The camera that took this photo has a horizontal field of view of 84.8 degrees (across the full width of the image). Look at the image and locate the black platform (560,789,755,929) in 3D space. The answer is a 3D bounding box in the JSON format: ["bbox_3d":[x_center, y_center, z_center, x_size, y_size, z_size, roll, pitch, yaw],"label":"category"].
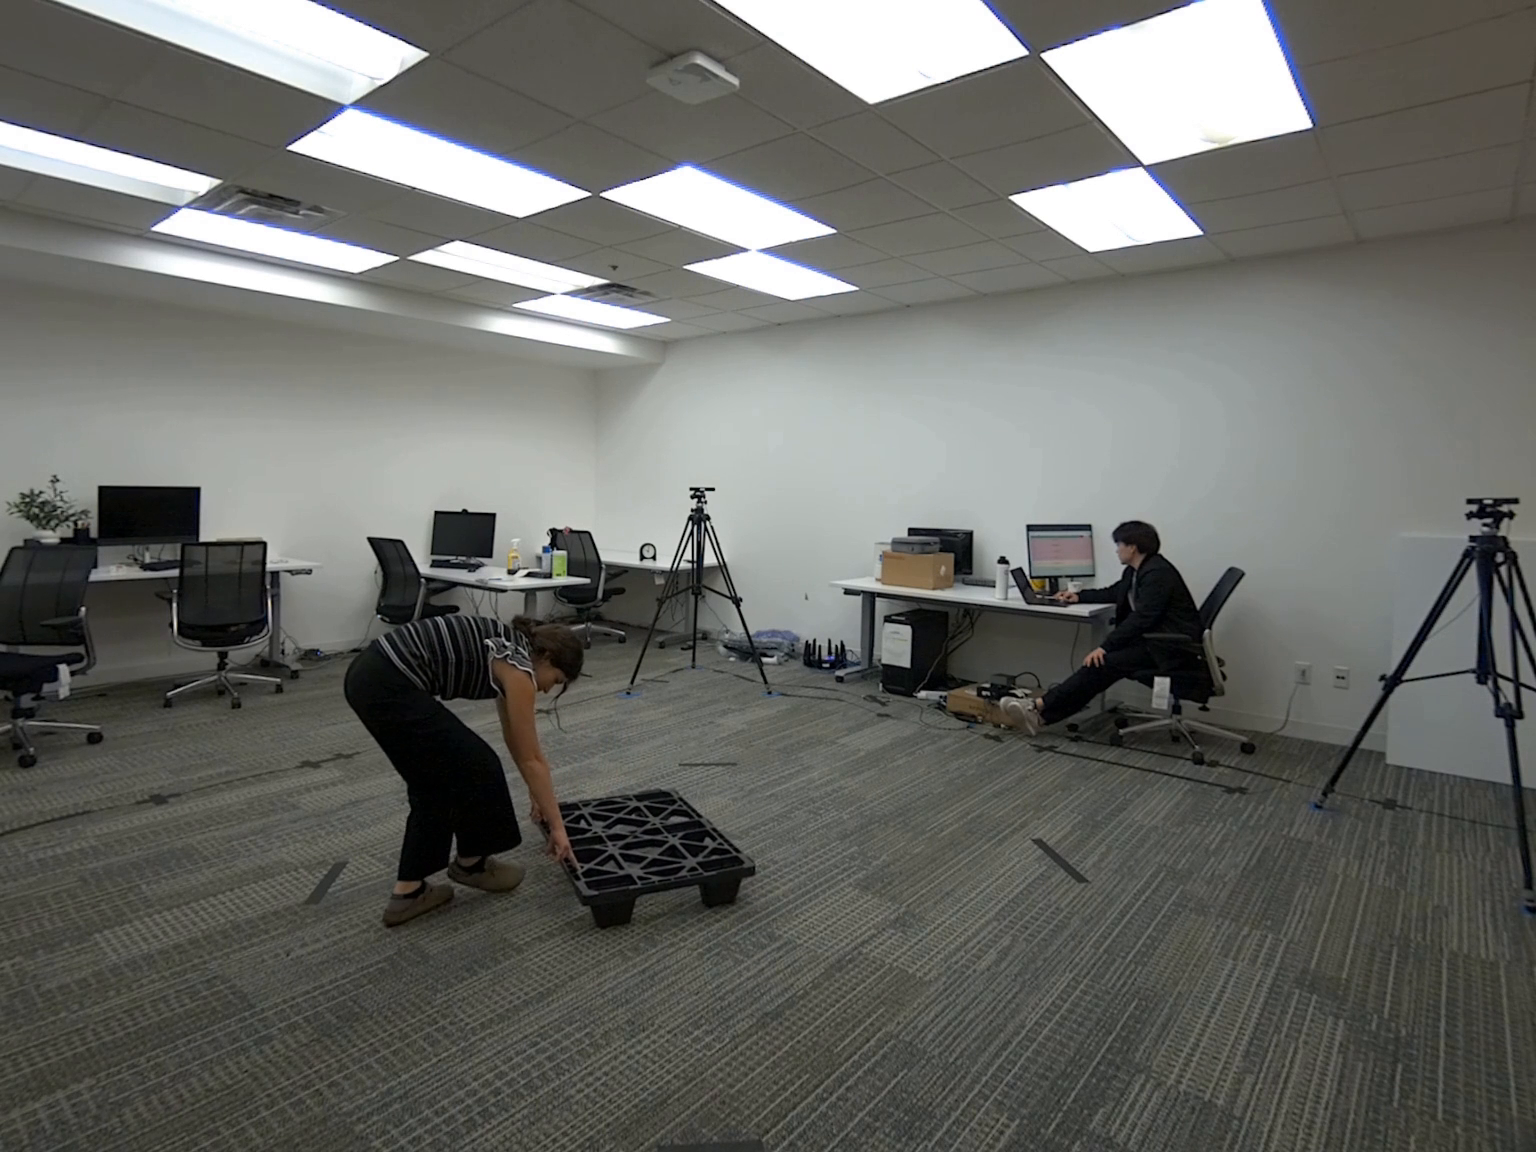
[{"bbox_3d":[-0.491,0.995,3.093,0.591,0.143,0.828,-1,6,-26],"label":"black platform"}]
